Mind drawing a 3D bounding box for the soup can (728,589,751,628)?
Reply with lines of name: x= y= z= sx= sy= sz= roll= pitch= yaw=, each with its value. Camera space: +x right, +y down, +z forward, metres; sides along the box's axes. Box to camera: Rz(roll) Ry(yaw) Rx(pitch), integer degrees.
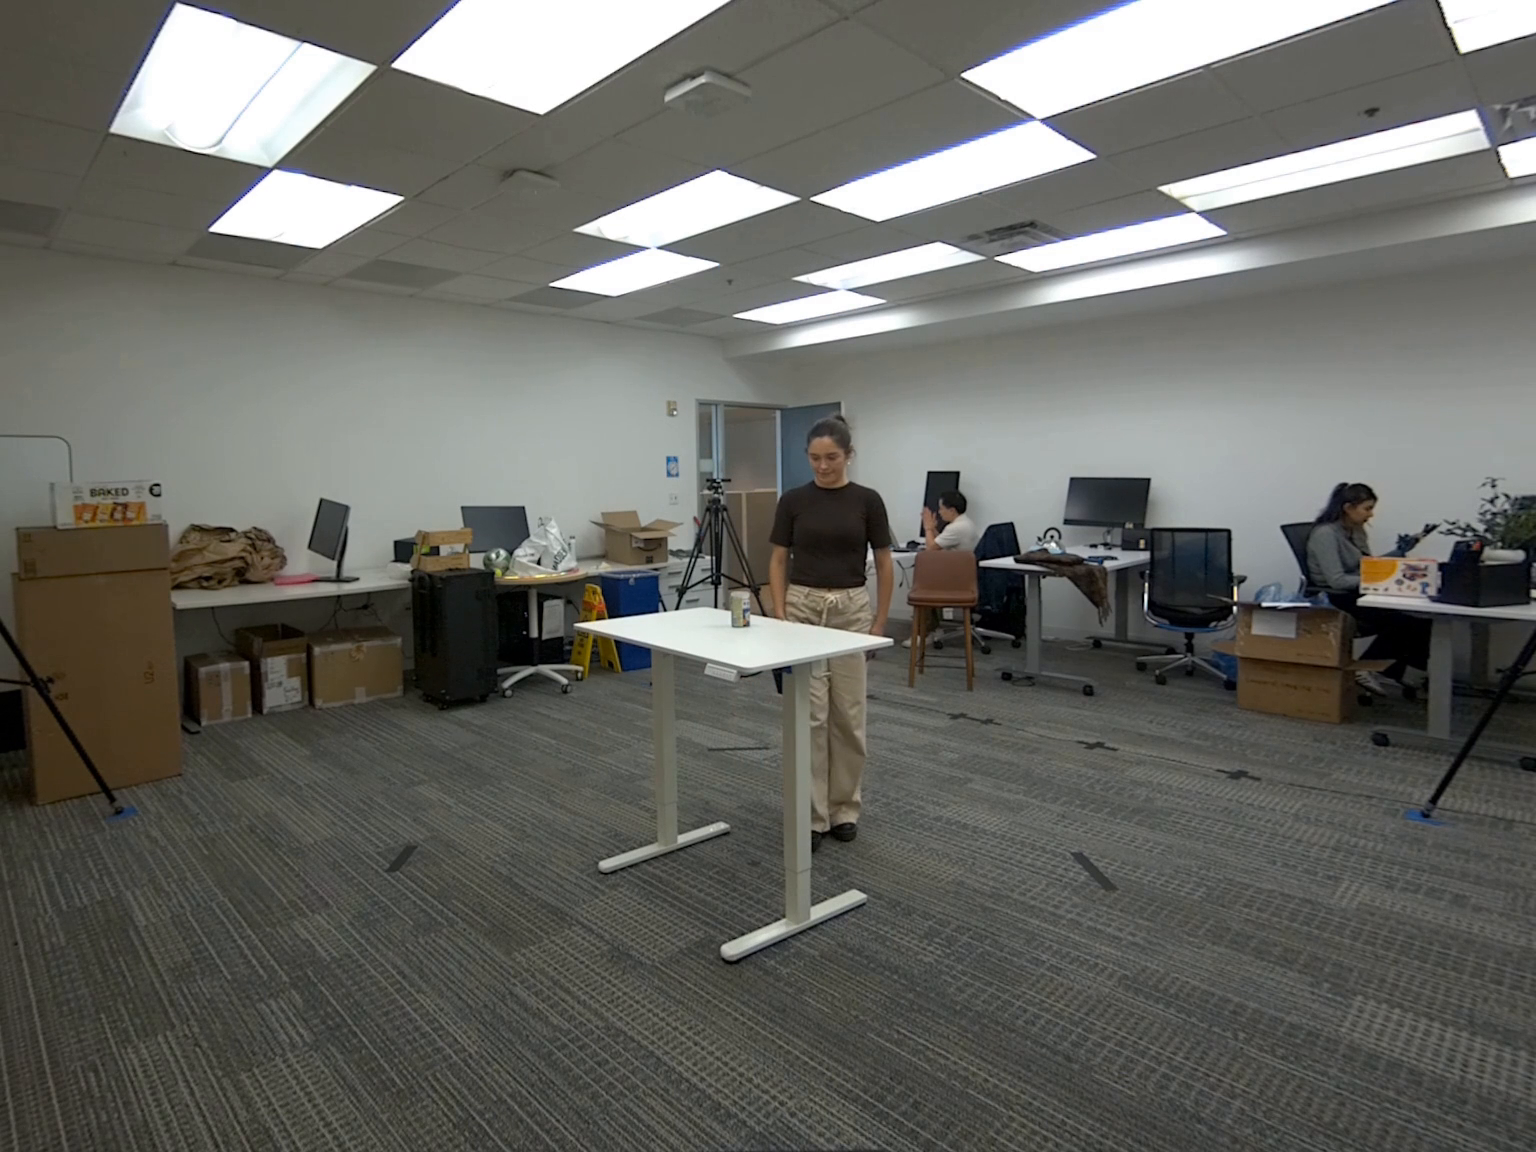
soup can: x=-0.090 y=0.118 z=2.982 sx=0.067 sy=0.121 sz=0.067 roll=-1 pitch=1 yaw=-2
